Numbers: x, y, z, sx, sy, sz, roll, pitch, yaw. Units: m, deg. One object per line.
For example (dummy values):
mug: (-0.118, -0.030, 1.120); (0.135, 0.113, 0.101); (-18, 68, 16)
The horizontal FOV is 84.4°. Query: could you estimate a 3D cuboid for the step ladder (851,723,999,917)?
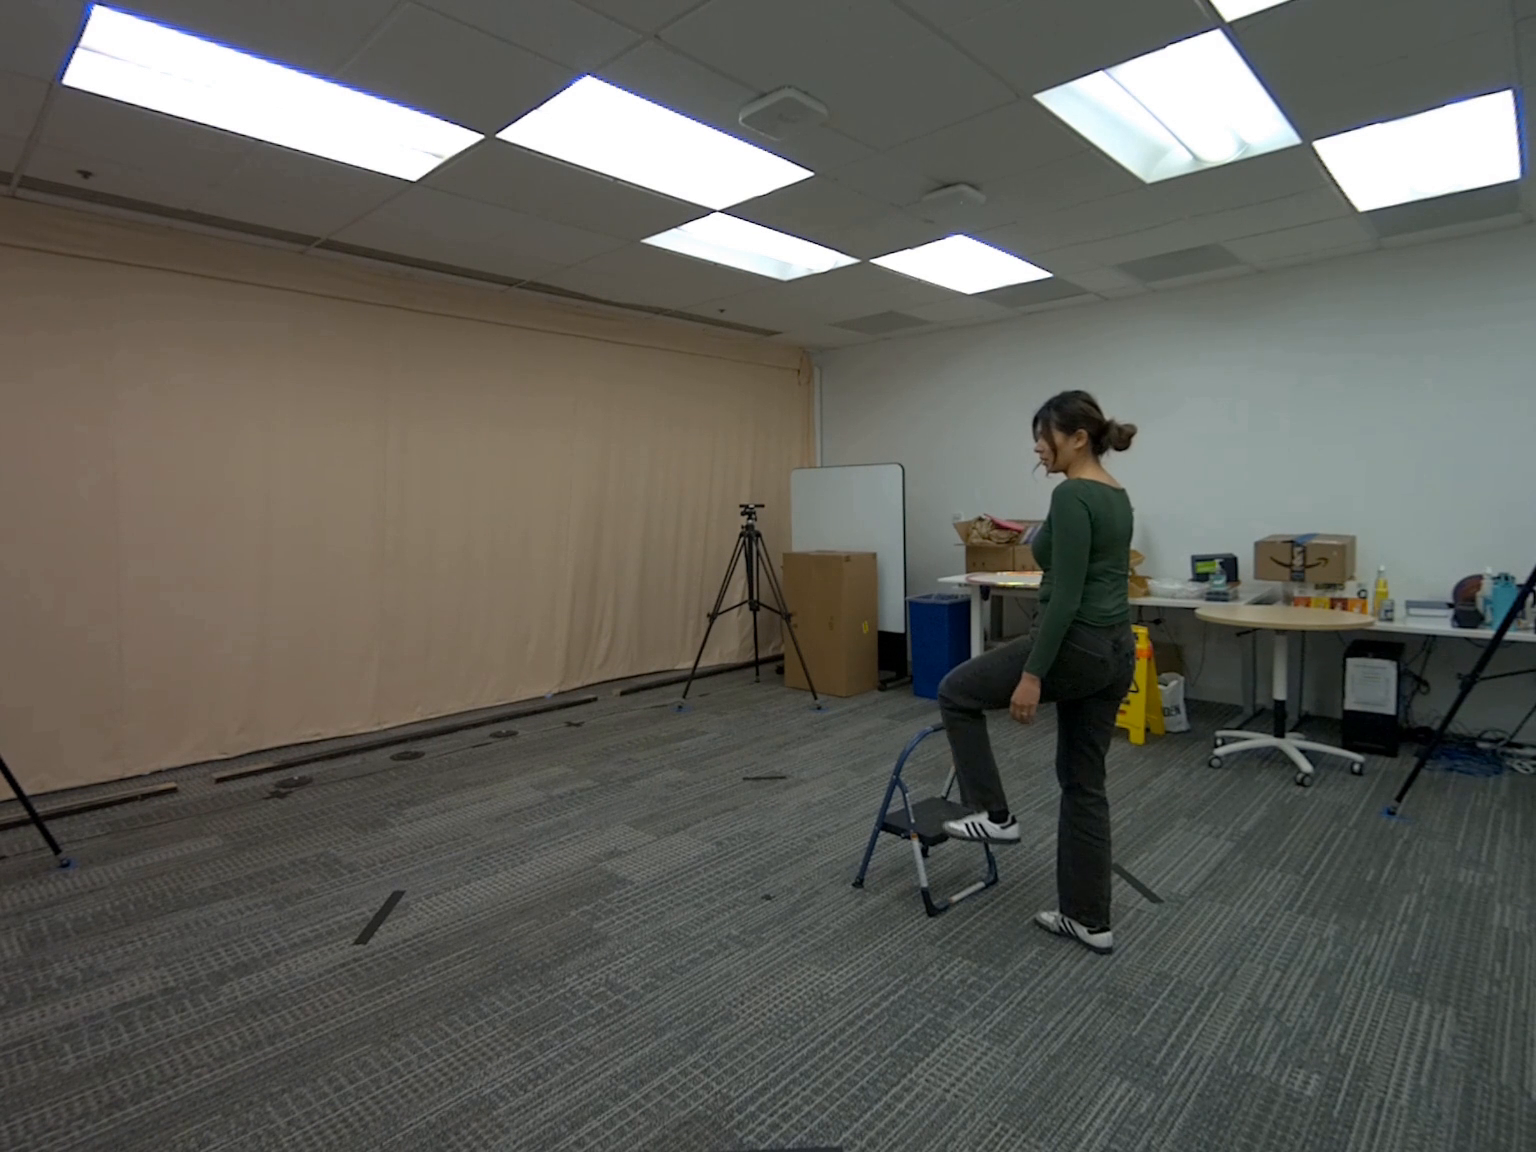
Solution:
step ladder: (0.576, 0.818, 3.055); (0.417, 0.605, 0.361); (-4, 5, -43)
